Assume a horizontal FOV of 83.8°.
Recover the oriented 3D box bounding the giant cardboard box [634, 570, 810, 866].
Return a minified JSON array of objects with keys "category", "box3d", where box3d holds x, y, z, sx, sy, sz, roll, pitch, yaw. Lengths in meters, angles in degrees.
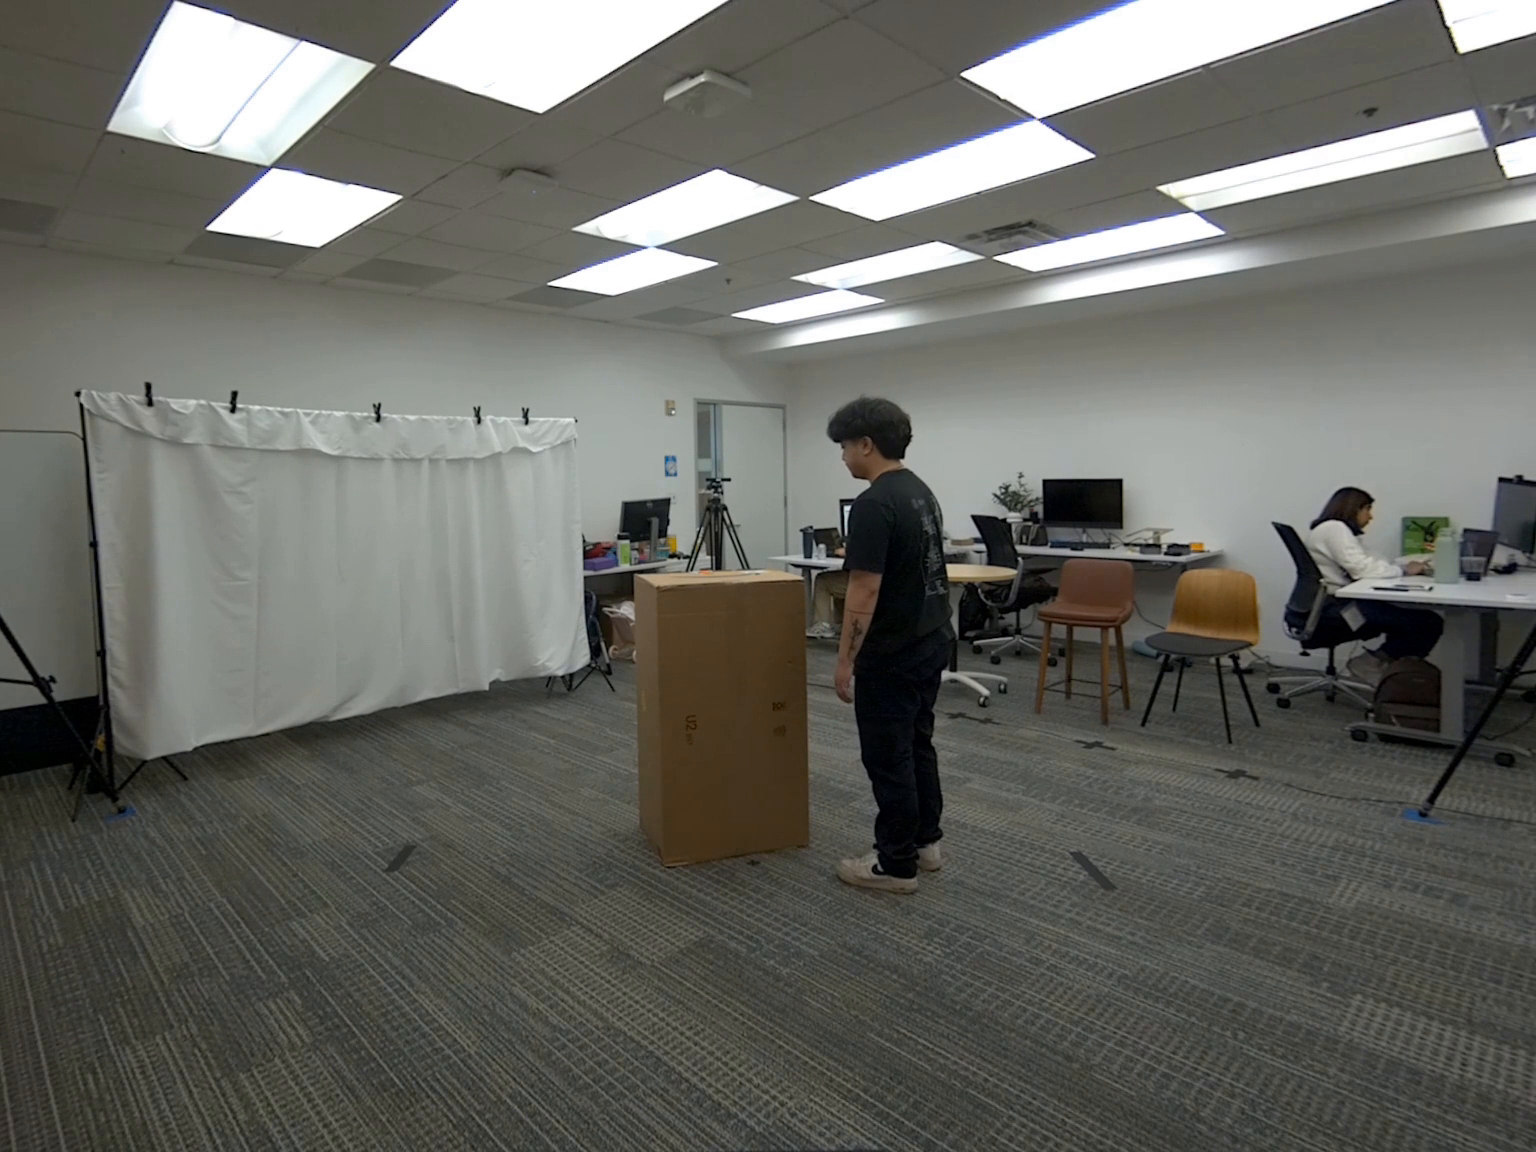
[{"category":"giant cardboard box","box3d":[-0.190,0.505,3.333,0.575,1.024,0.455,-2,3,-18]}]
